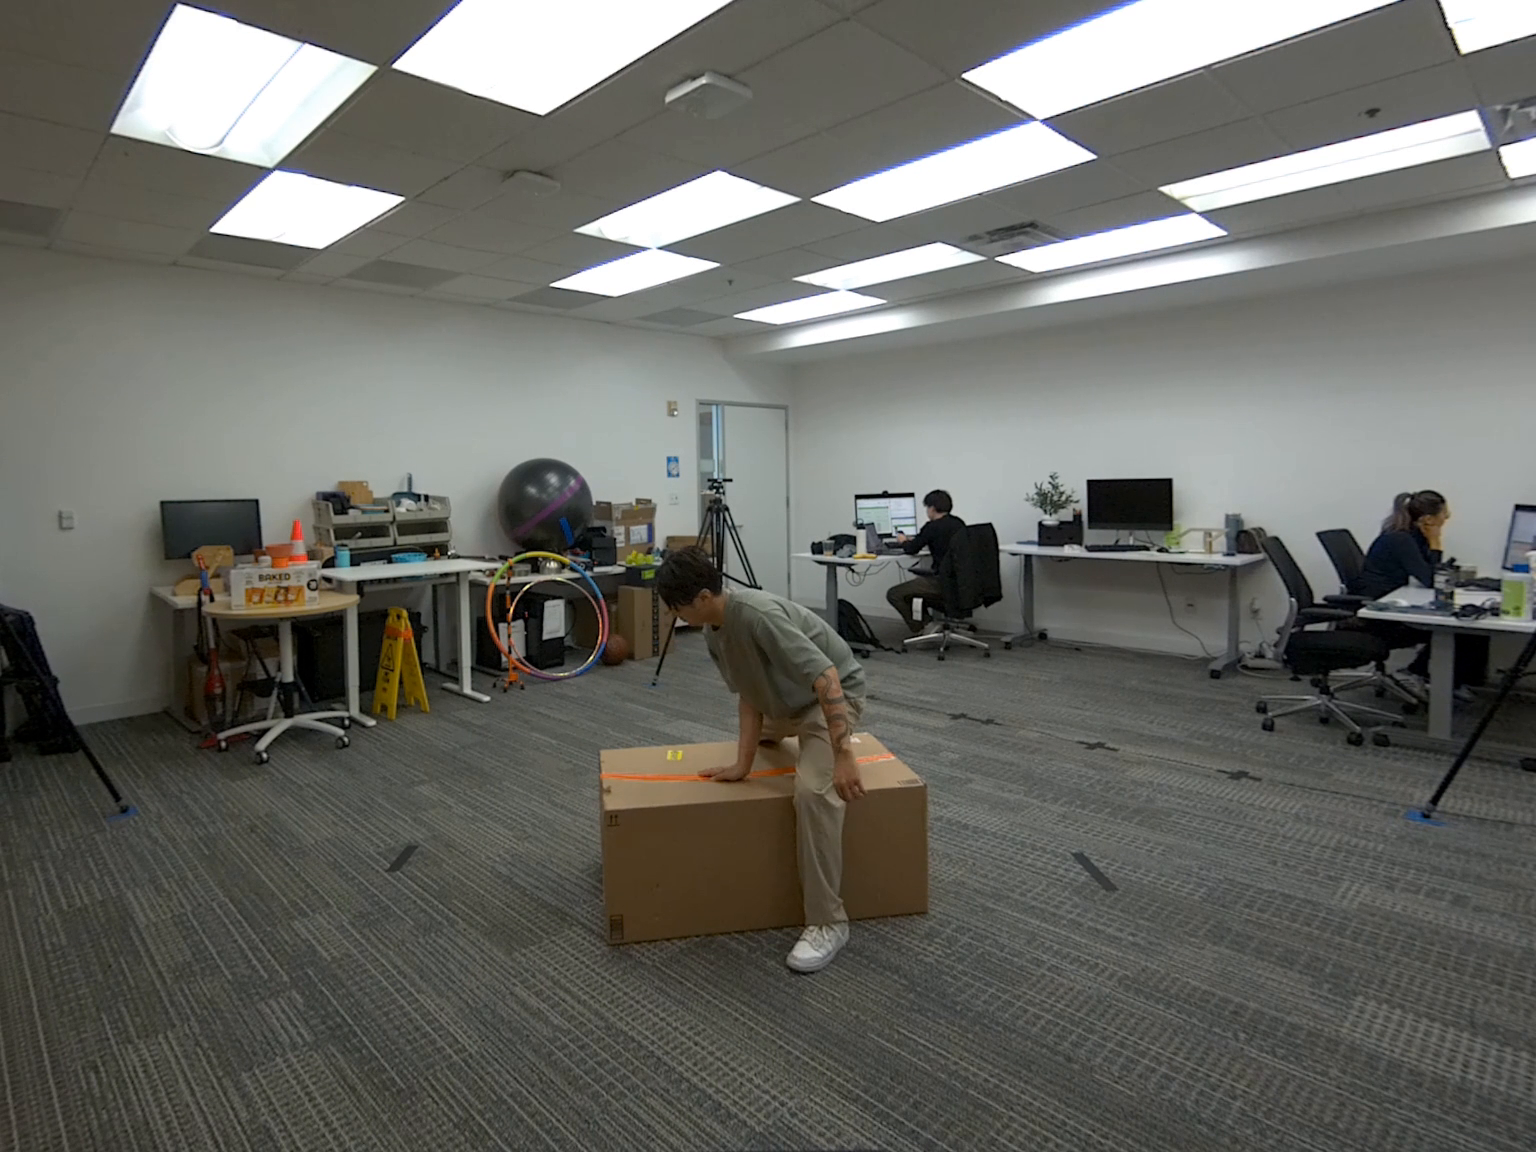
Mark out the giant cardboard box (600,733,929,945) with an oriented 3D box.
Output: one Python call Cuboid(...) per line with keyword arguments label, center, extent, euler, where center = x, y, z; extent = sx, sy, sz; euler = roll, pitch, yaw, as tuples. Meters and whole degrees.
Cuboid(label="giant cardboard box", center=(-0.050, 0.857, 2.912), extent=(1.017, 0.425, 0.585), euler=(-2, 5, -10))
